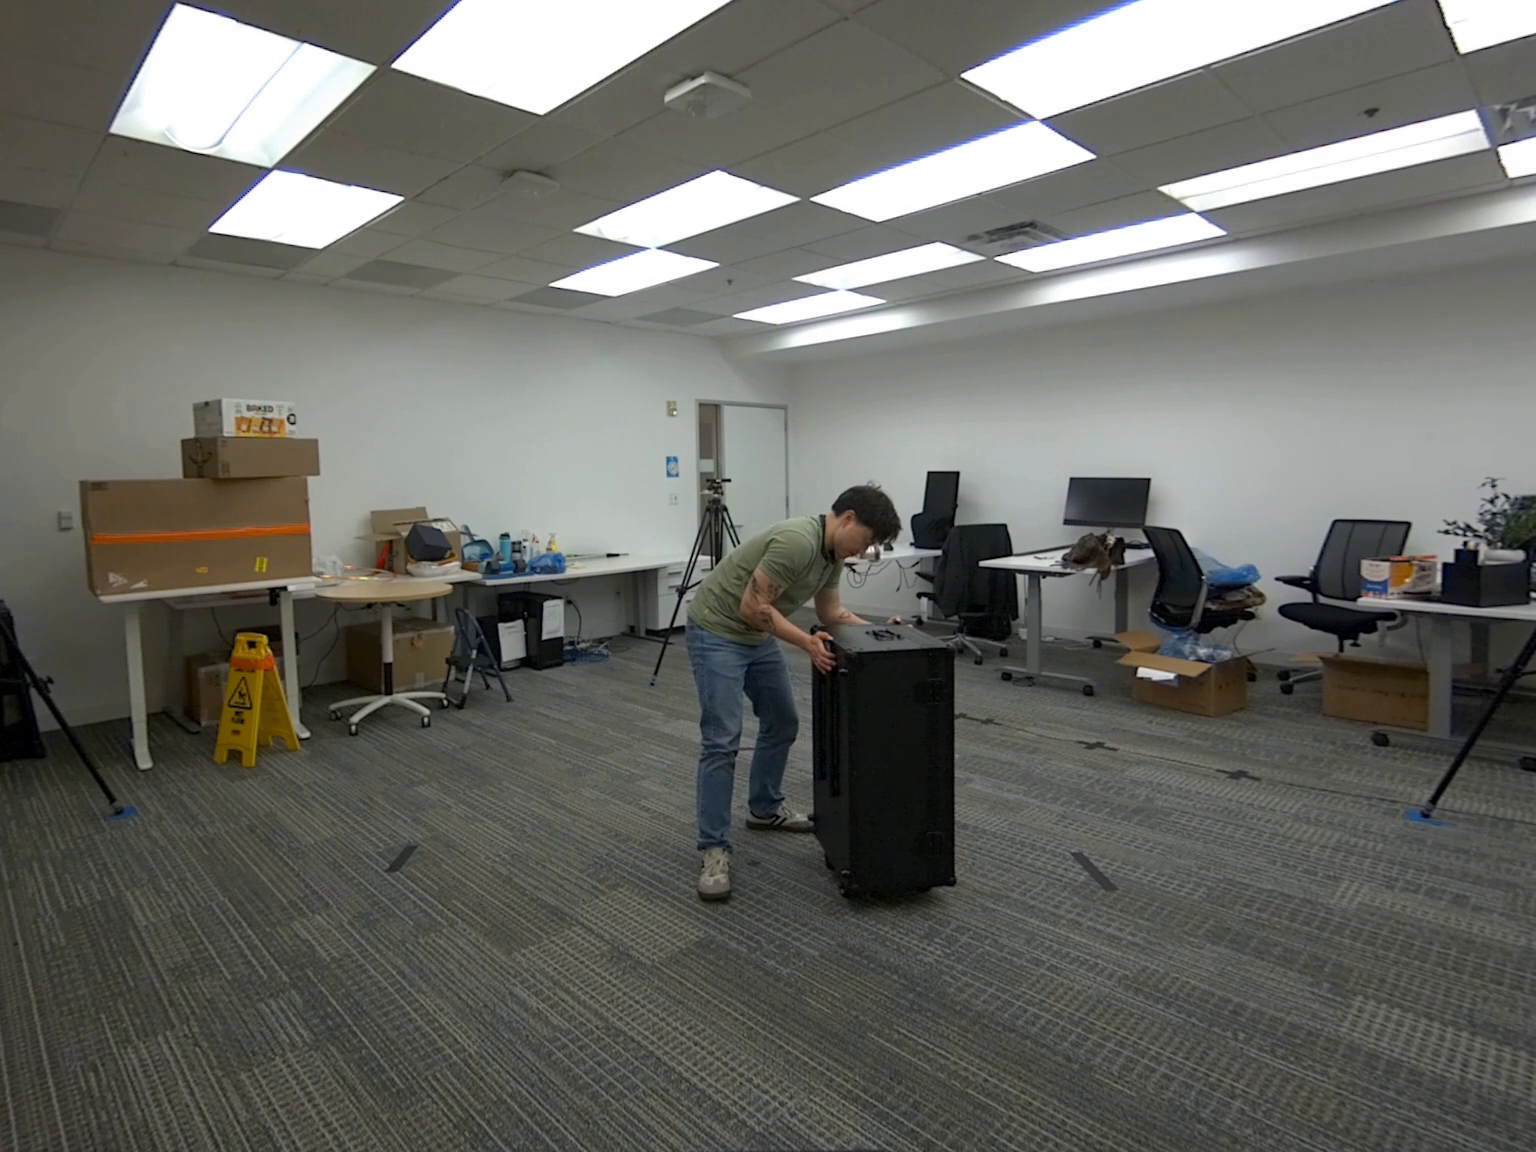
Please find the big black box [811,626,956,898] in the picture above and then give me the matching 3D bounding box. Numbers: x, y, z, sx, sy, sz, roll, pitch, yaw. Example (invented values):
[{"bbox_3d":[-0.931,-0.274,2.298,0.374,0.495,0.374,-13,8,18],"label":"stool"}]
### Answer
[{"bbox_3d":[0.377,0.574,2.944,0.393,0.858,0.528,-1,5,-10],"label":"big black box"}]
